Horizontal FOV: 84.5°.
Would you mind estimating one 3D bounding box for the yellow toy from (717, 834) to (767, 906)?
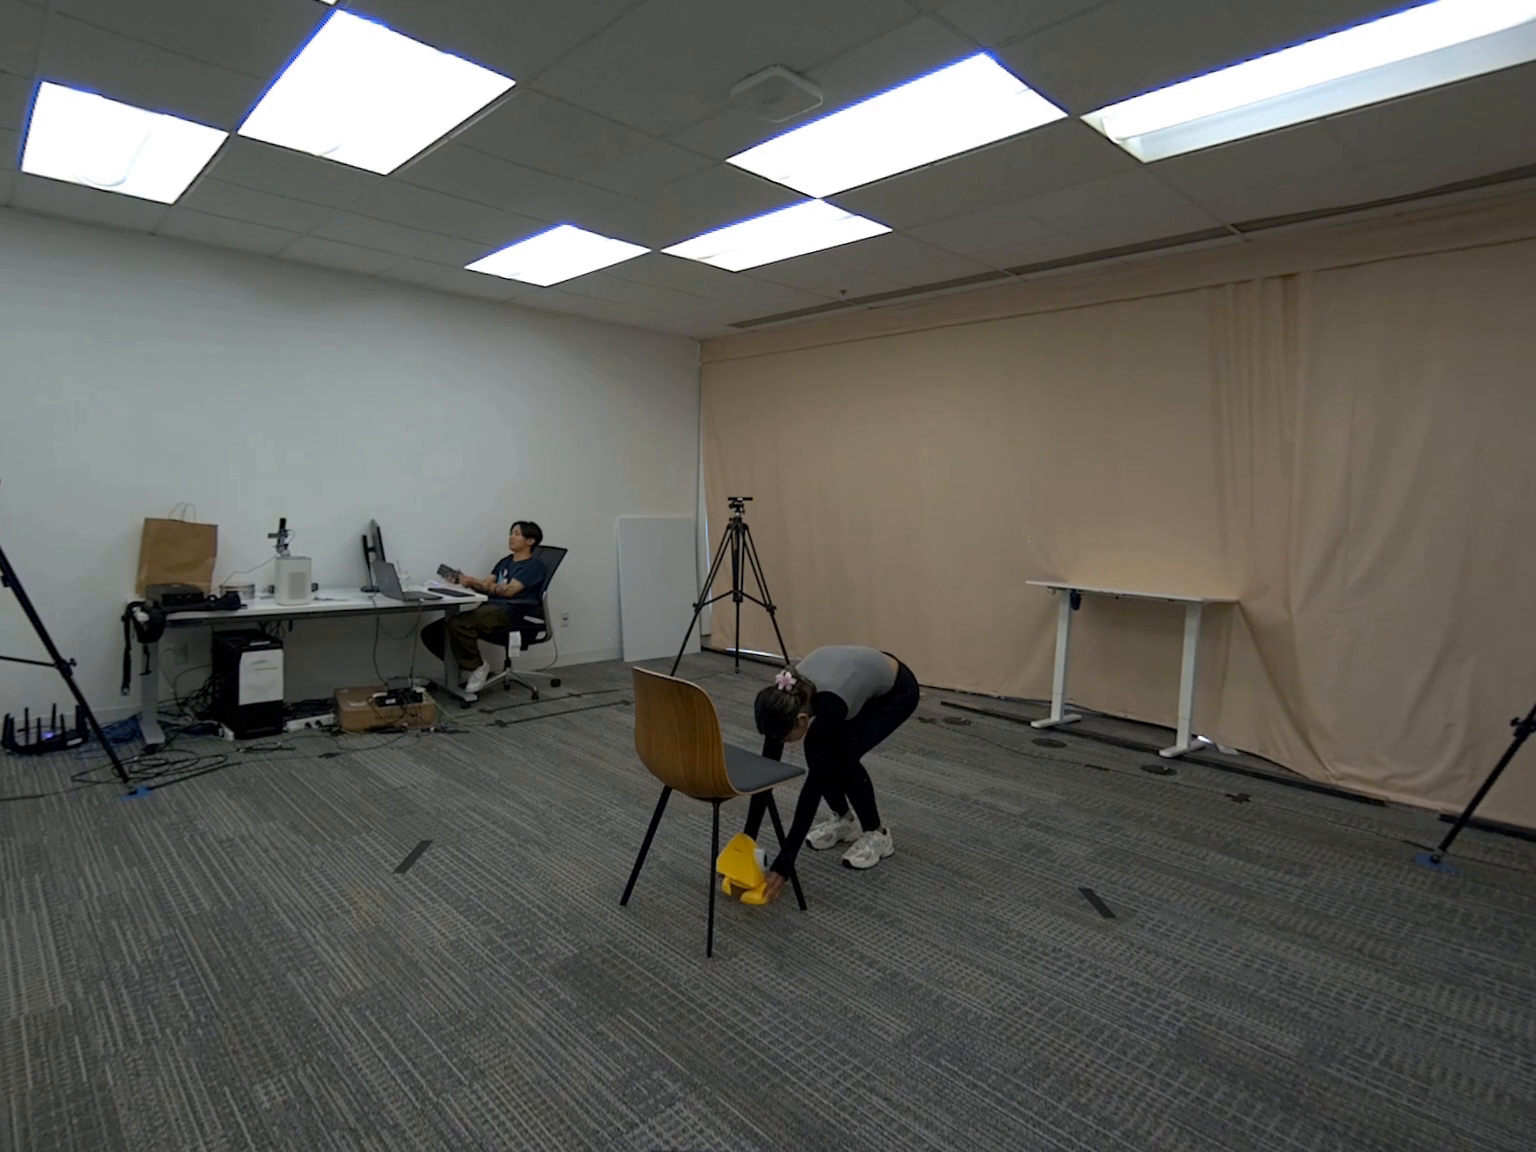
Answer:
[{"bbox_3d":[-0.074,1.013,2.983,0.210,0.230,0.189,5,6,43],"label":"yellow toy"}]
